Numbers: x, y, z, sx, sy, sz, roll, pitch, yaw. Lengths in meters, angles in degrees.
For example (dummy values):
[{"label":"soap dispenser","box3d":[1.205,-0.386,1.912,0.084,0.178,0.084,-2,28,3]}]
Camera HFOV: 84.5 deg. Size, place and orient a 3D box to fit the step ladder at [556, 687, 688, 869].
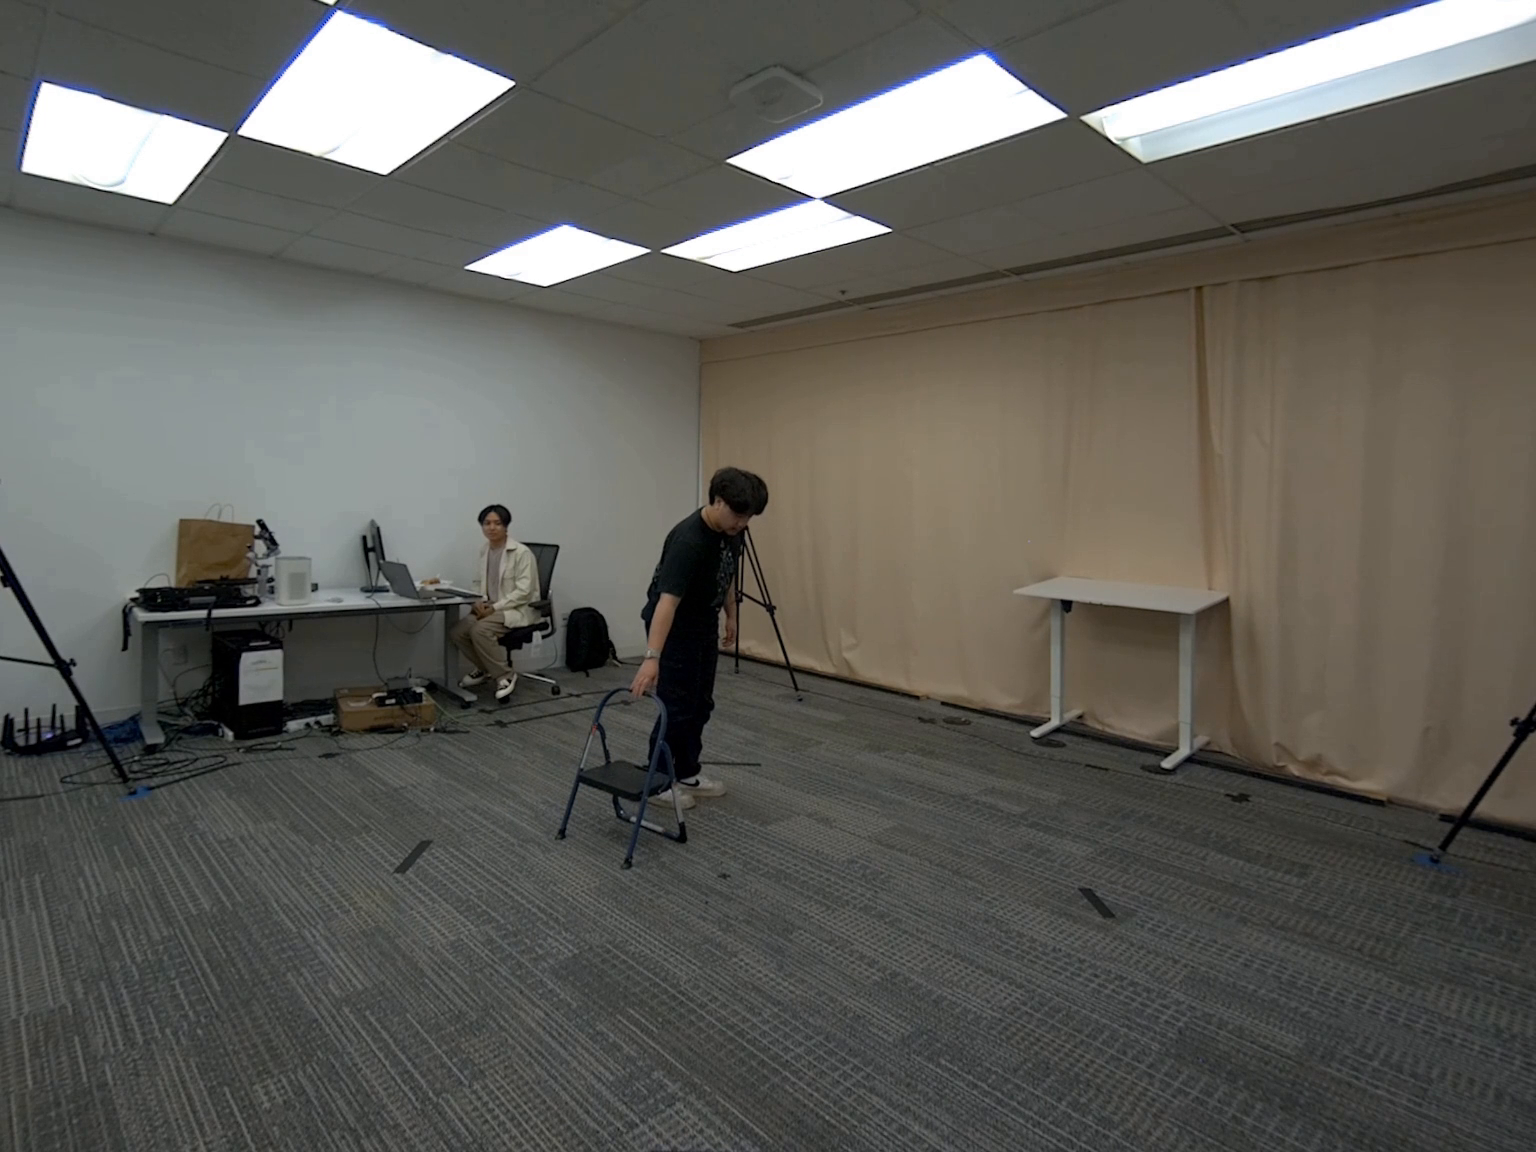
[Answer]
[{"label":"step ladder","box3d":[-0.593,0.769,3.387,0.441,0.604,0.341,4,4,39]}]
